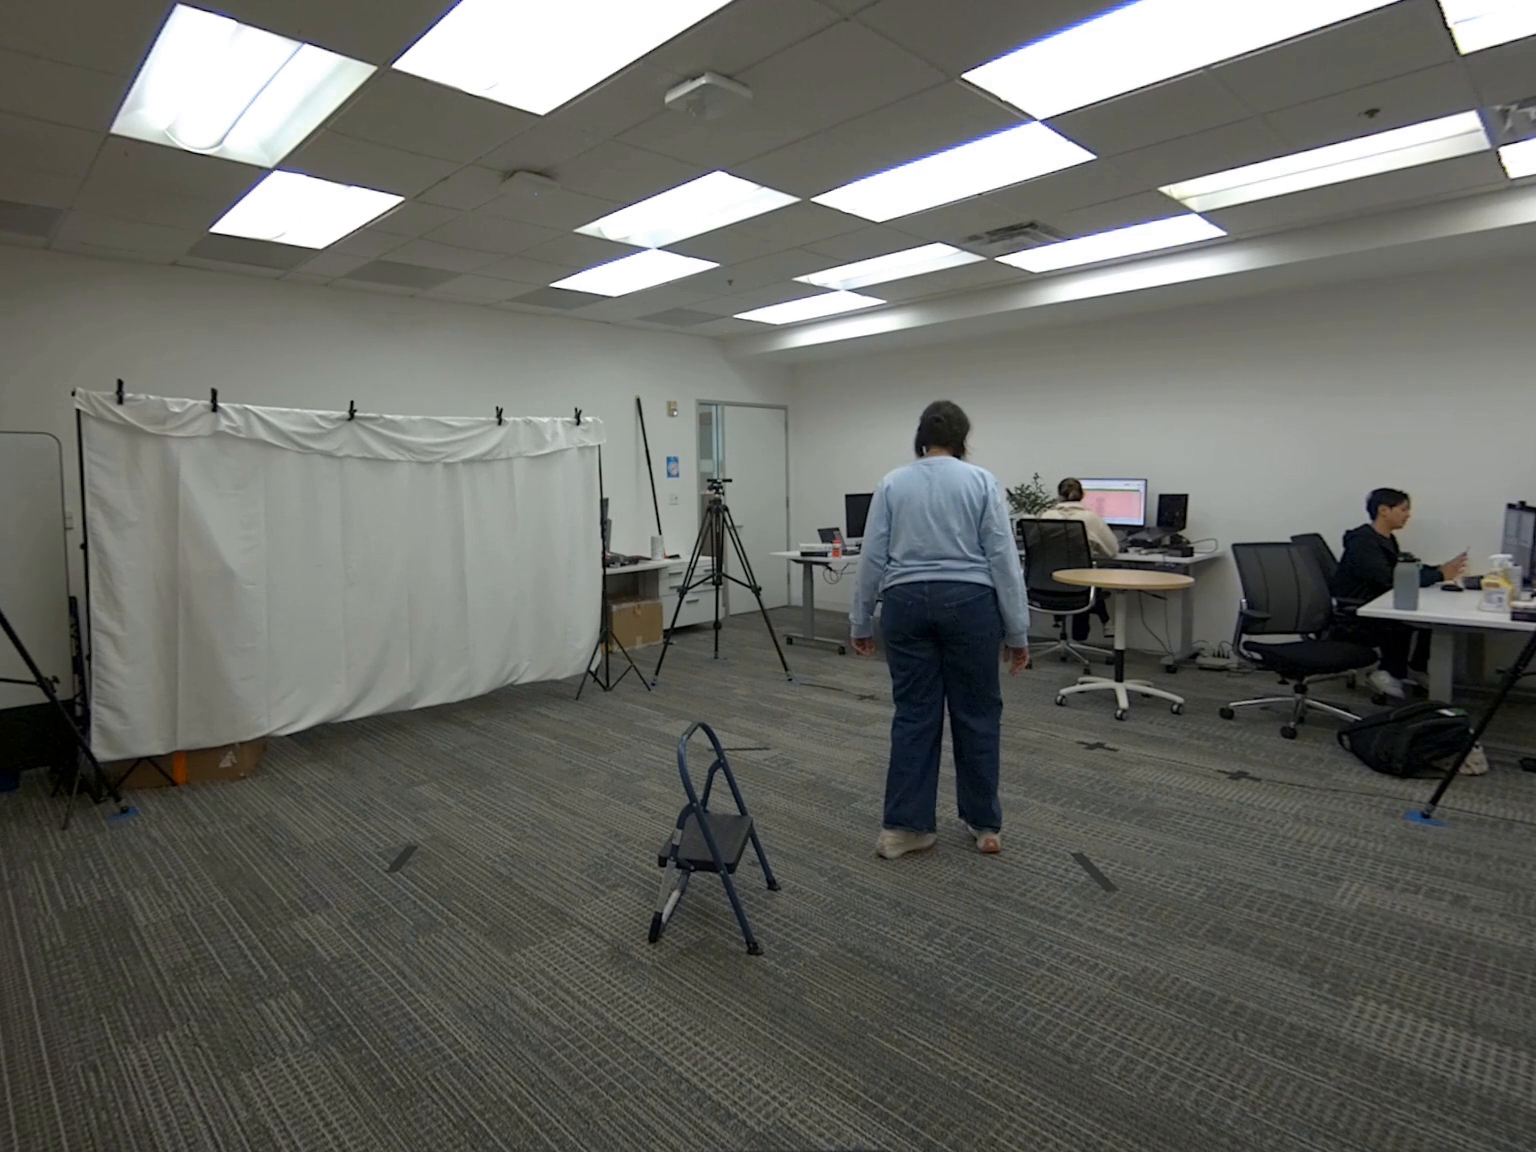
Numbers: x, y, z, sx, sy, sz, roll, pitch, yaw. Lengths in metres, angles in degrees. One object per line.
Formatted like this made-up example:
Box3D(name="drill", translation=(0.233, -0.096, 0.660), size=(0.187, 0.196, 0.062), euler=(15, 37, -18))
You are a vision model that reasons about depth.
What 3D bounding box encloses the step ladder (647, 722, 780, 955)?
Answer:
Box3D(name="step ladder", translation=(-0.167, 0.789, 2.729), size=(0.353, 0.604, 0.428), euler=(0, 5, 10))
